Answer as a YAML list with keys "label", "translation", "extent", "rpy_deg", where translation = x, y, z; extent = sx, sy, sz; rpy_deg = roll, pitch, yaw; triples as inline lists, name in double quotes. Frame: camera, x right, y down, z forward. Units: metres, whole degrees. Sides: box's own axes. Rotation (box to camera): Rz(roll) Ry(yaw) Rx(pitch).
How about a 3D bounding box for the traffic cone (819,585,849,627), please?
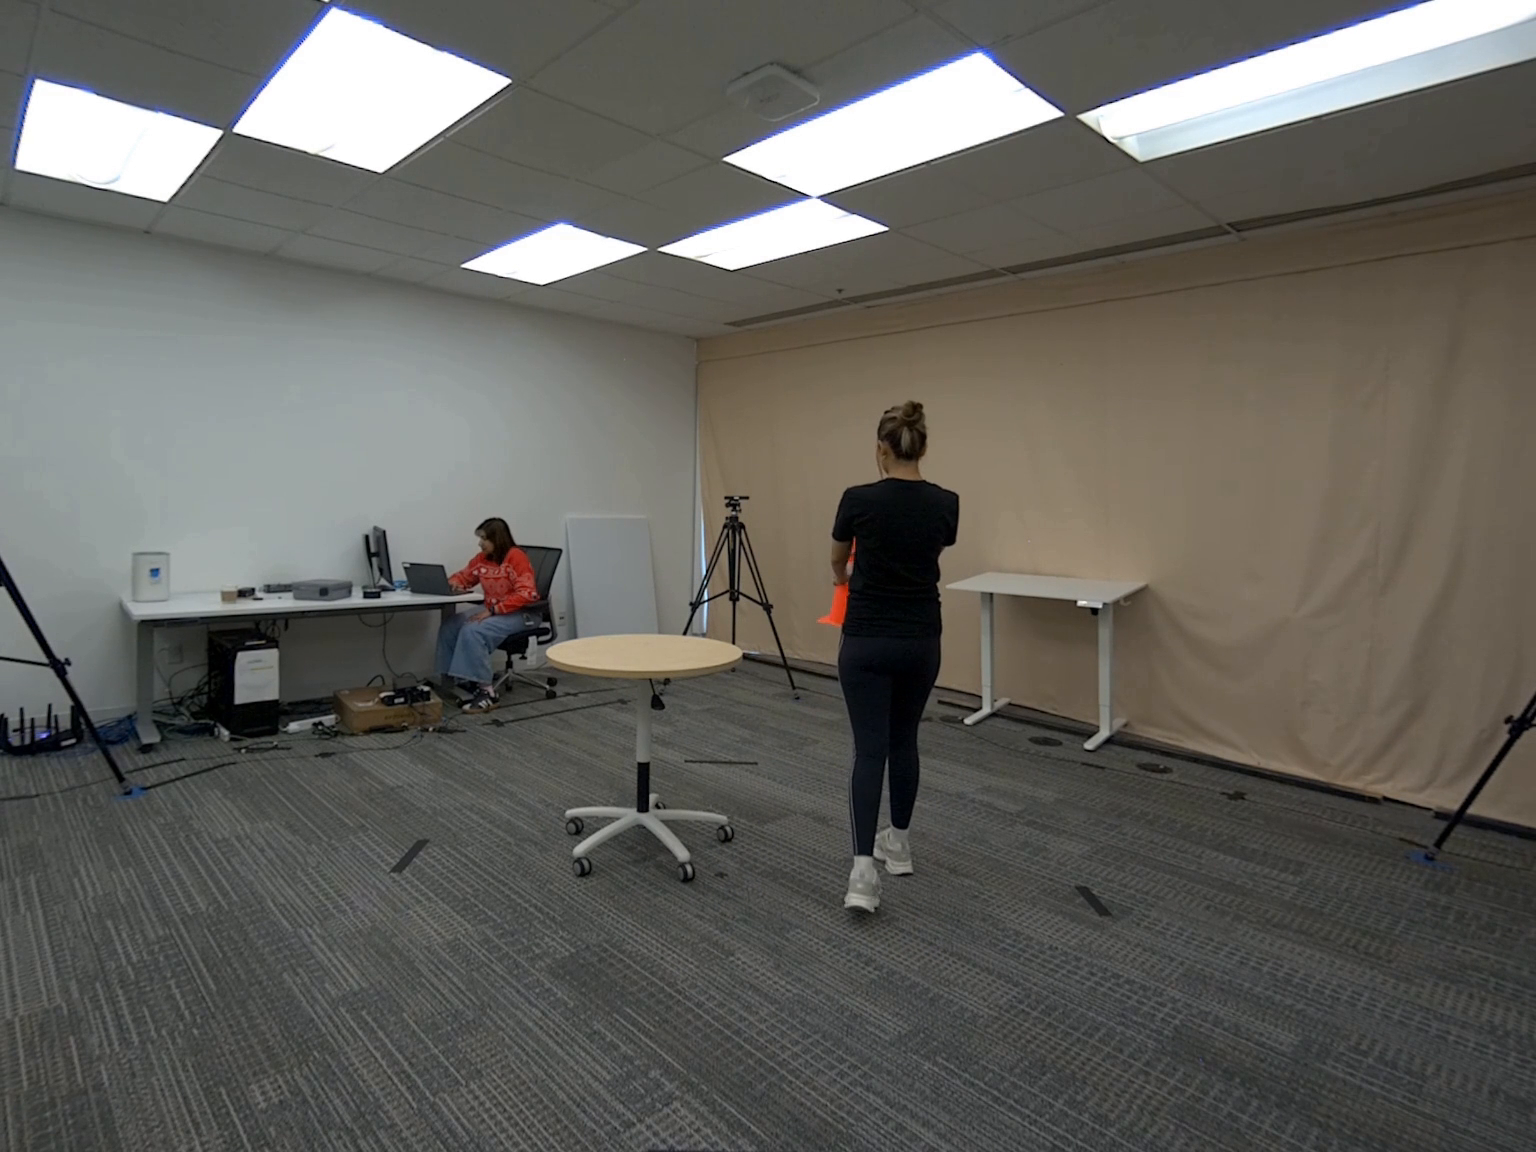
- label: "traffic cone"
  translation: [0.345, 0.005, 3.527]
  extent: [0.208, 0.381, 0.201]
  rpy_deg: [8, 10, 30]
